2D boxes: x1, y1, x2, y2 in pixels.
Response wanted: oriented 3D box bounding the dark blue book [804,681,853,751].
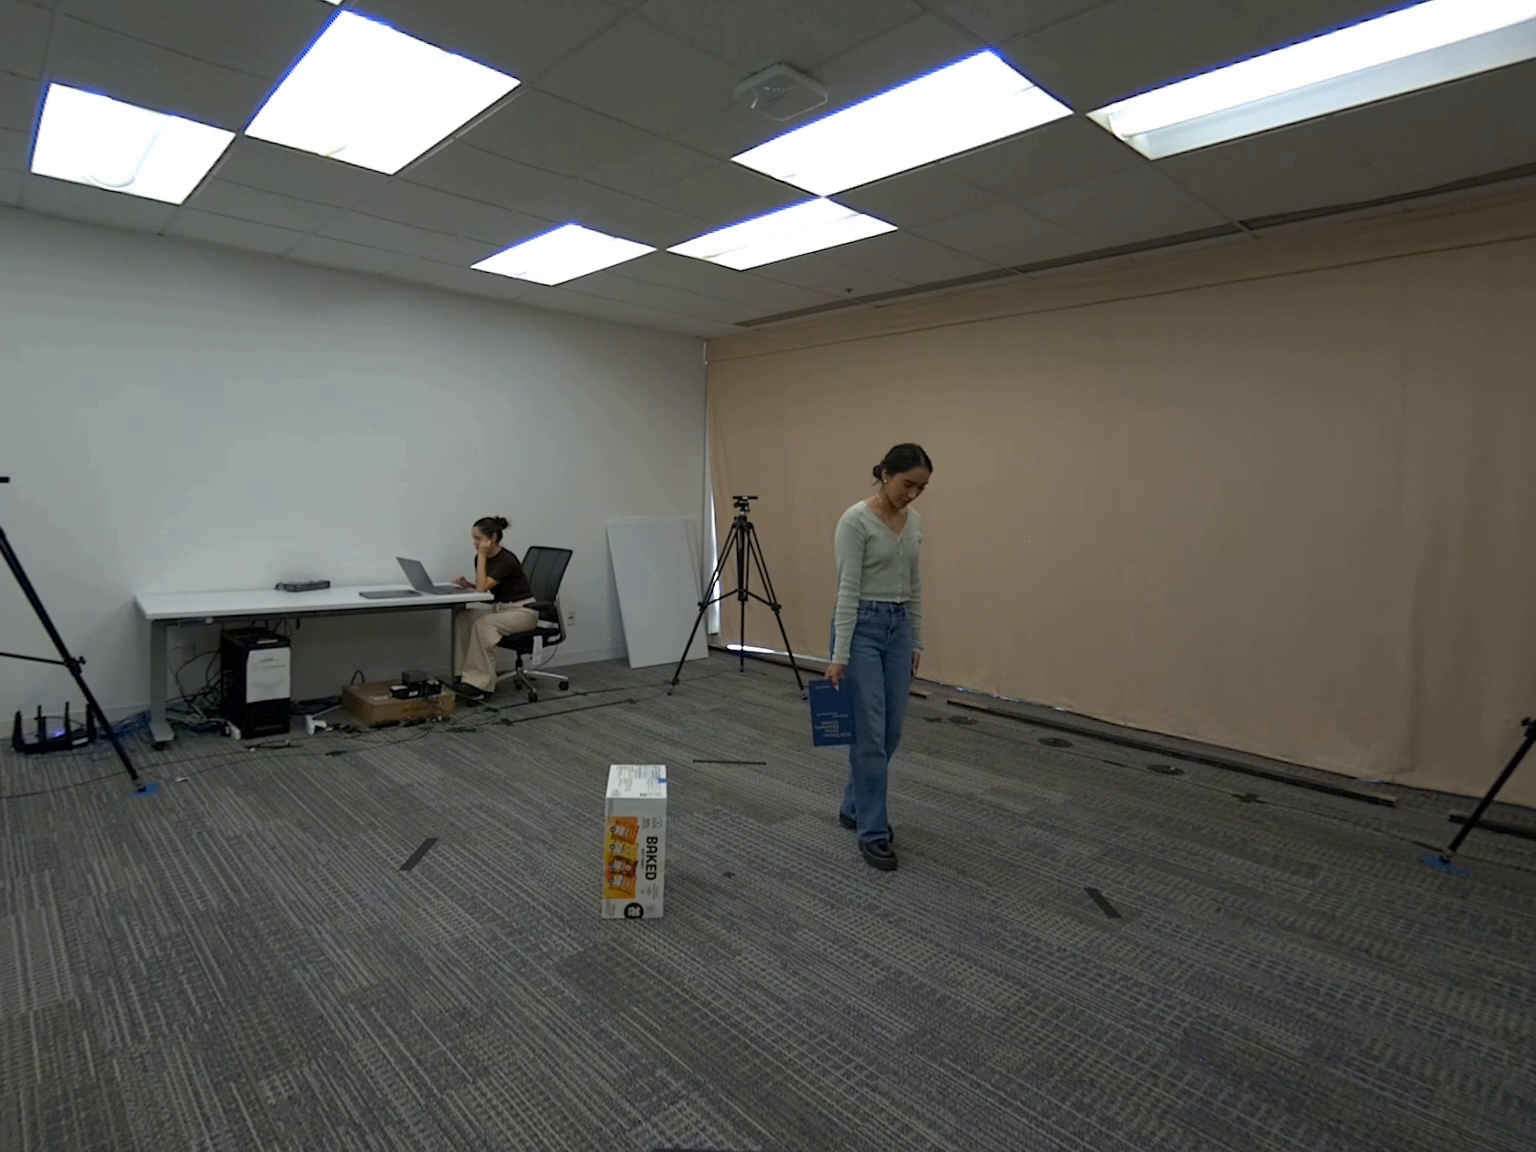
[{"bbox_3d":[0.228,0.517,3.161,0.164,0.247,0.045,-5,-9,4],"label":"dark blue book"}]
